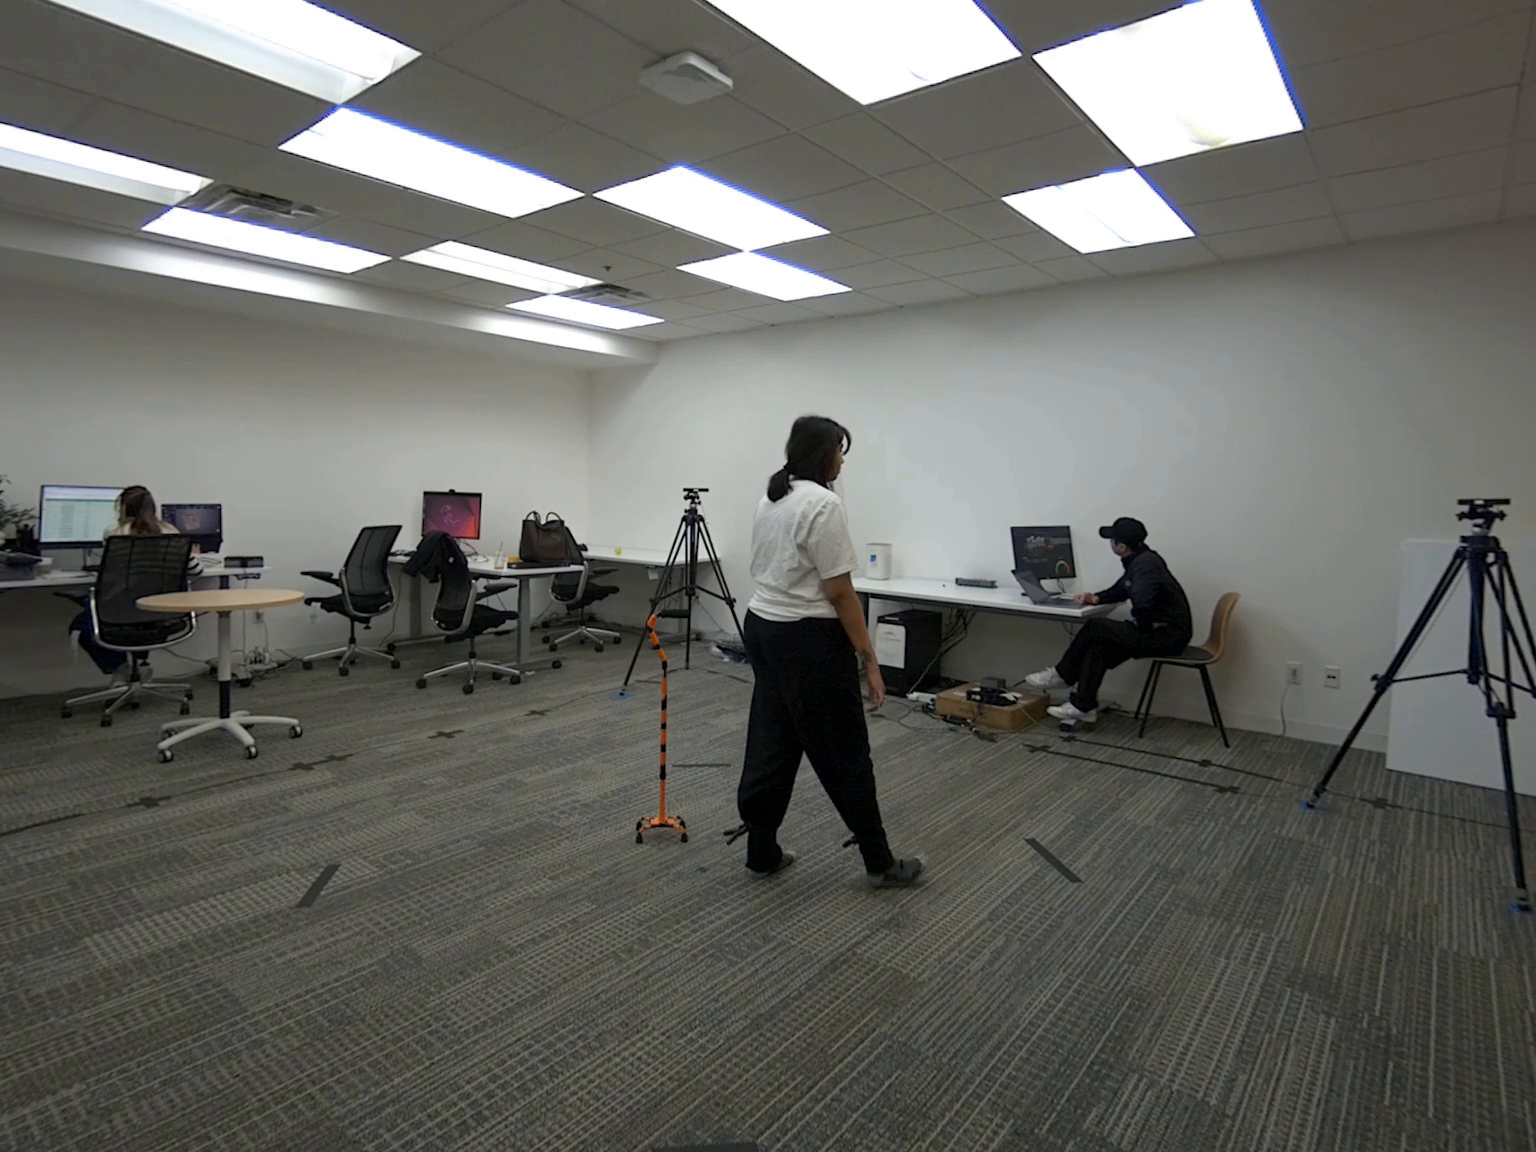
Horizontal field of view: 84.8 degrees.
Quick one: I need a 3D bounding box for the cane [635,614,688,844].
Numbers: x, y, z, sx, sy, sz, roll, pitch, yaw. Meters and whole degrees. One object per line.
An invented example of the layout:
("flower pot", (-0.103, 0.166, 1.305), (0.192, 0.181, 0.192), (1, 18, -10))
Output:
("cane", (-0.427, 0.592, 3.387), (0.205, 0.905, 0.153), (1, 3, -6))
